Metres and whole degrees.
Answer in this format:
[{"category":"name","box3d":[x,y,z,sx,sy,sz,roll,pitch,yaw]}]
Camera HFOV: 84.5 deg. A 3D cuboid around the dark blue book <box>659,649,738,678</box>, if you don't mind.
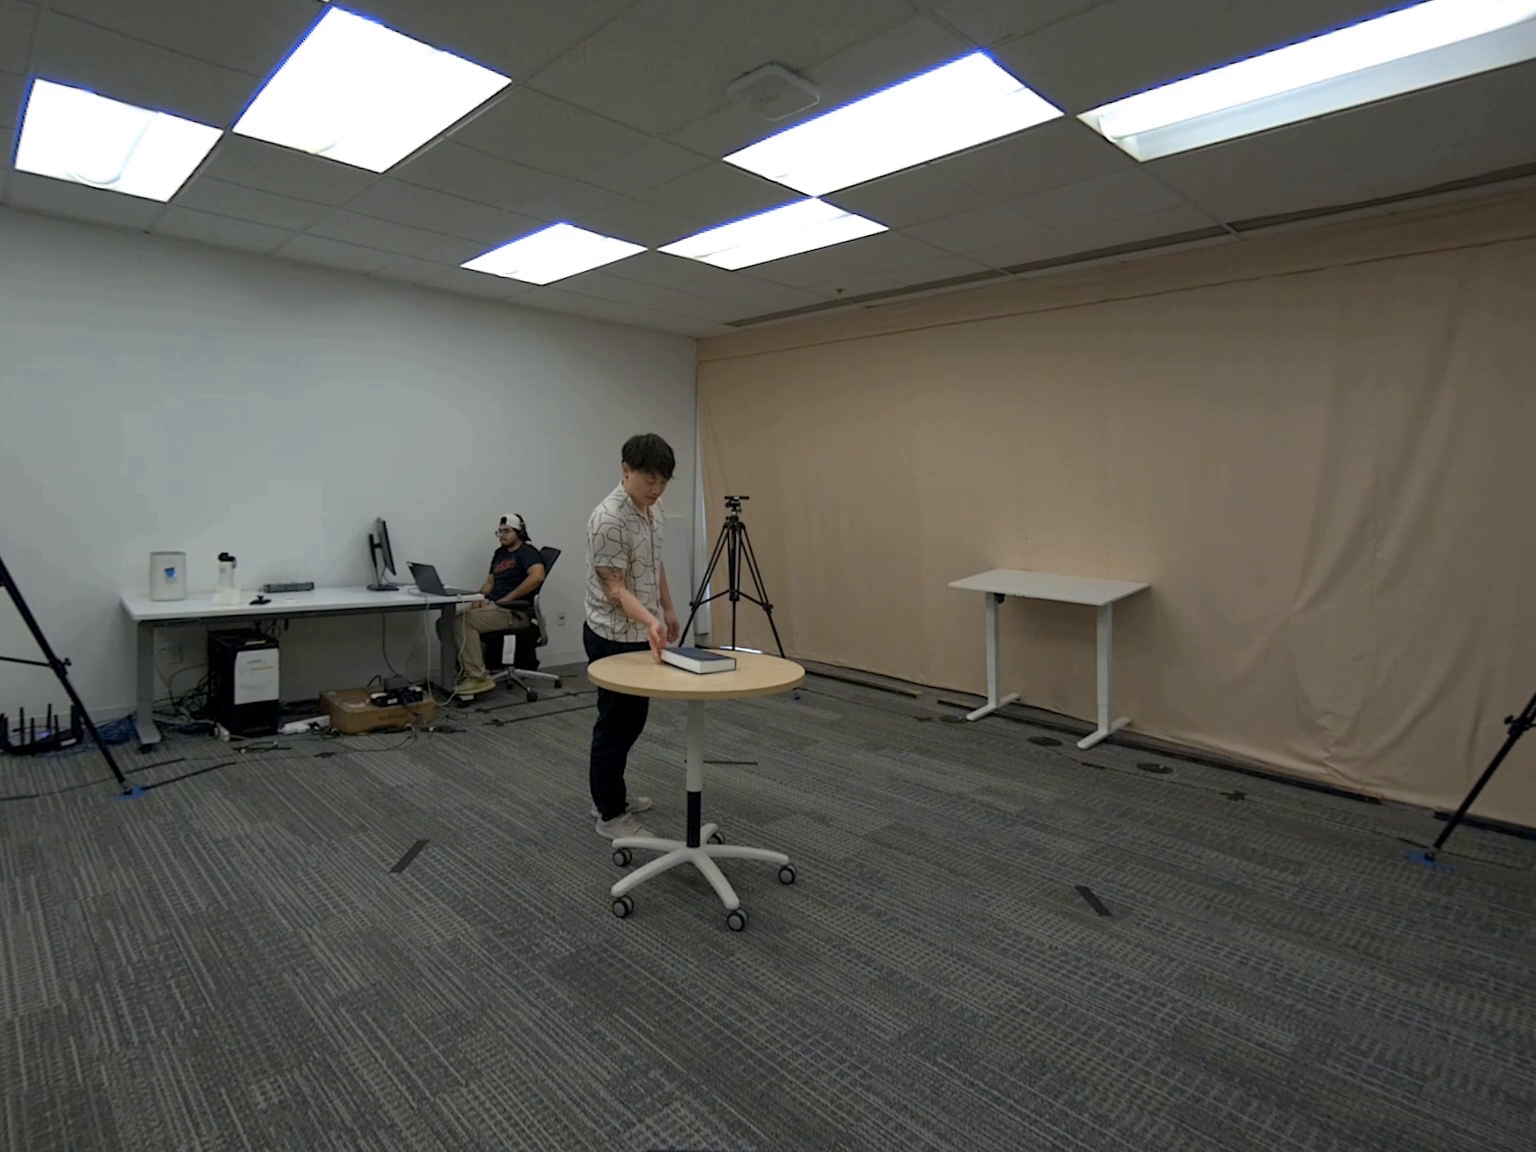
[{"category":"dark blue book","box3d":[-0.249,0.305,2.995,0.159,0.045,0.251,2,5,-39]}]
